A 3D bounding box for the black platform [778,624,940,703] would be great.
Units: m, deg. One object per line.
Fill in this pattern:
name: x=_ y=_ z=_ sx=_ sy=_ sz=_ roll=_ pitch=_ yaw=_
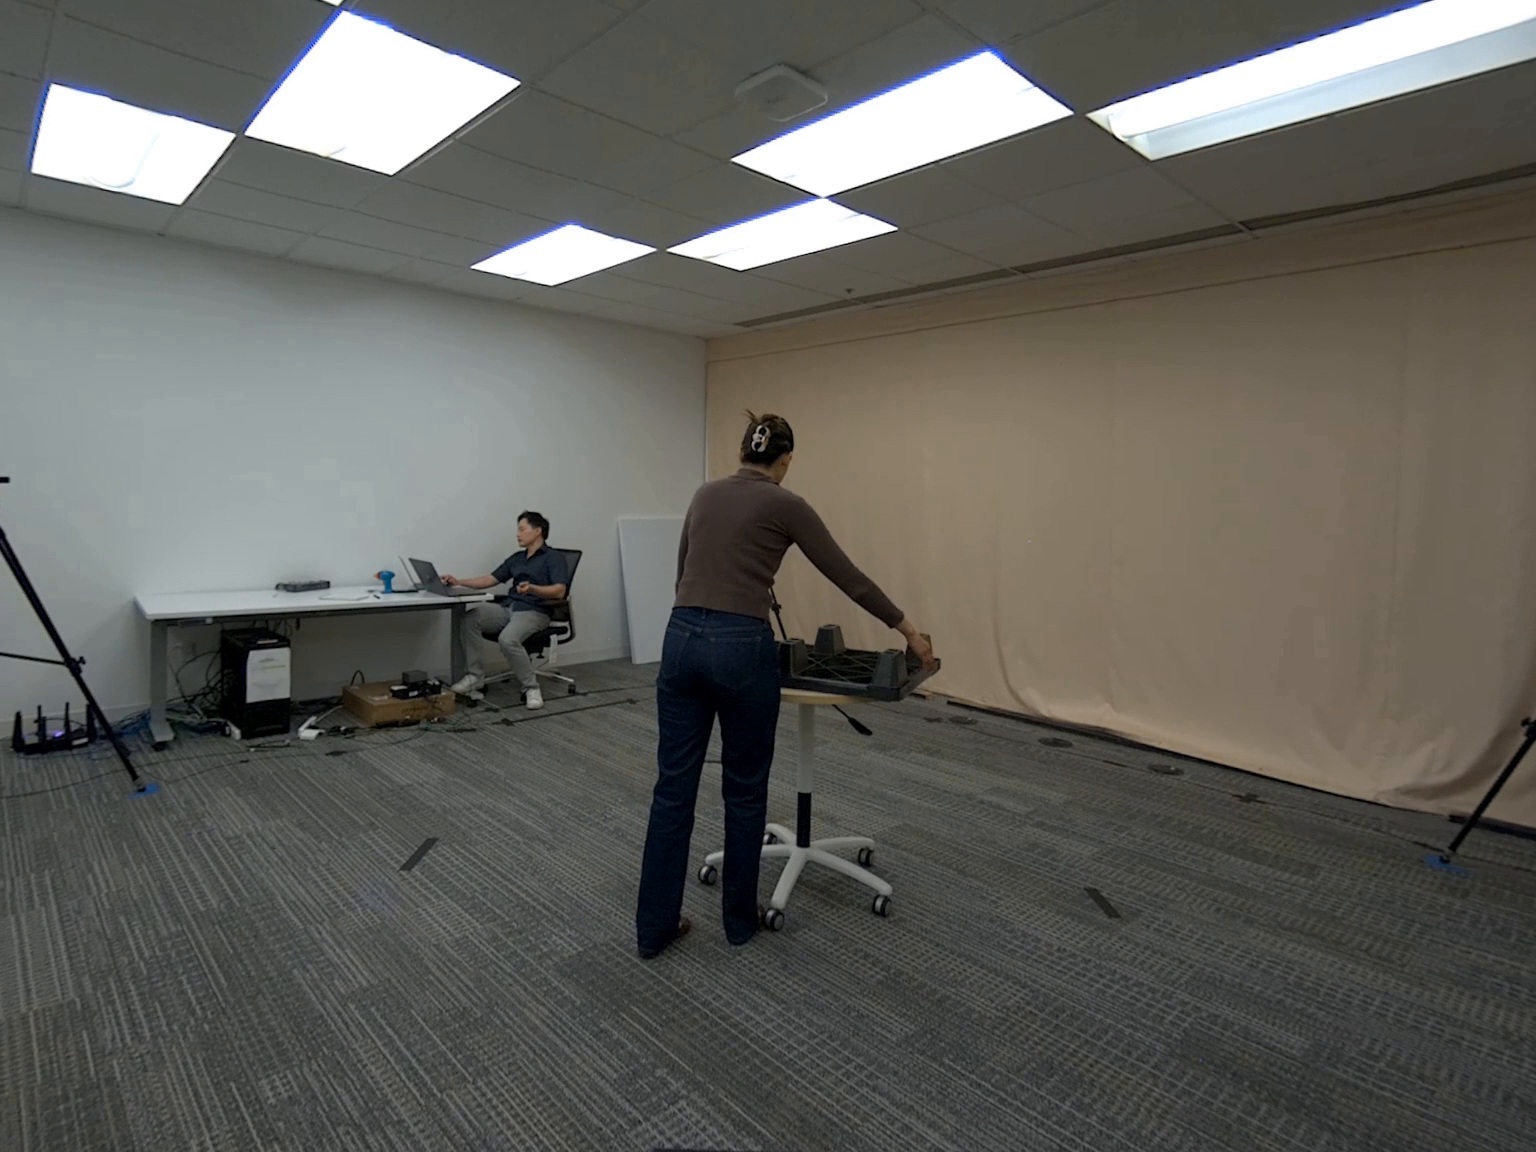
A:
black platform: x=0.142 y=0.274 z=2.986 sx=0.821 sy=0.143 sz=0.595 roll=4 pitch=6 yaw=25
